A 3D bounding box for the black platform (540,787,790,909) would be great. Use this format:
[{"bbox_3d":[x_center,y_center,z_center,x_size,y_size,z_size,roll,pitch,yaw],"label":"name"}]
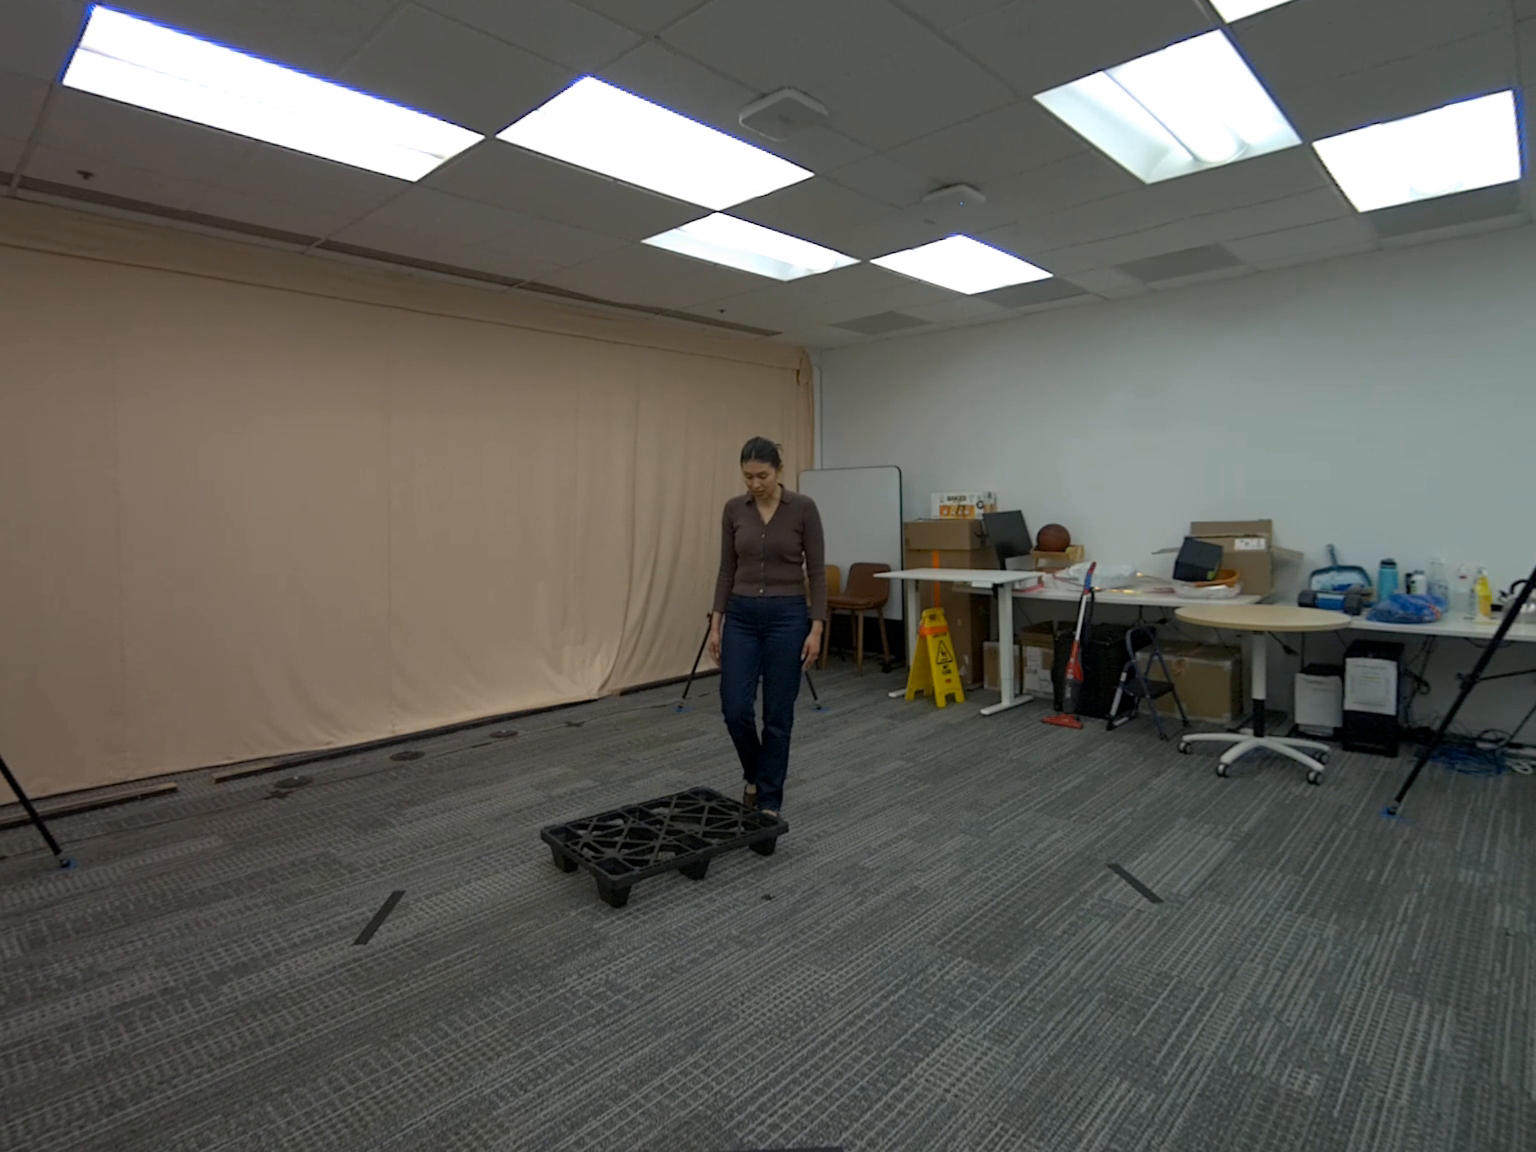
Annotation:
[{"bbox_3d":[-0.400,1.054,3.321,0.782,0.143,0.625,-5,7,-38],"label":"black platform"}]
